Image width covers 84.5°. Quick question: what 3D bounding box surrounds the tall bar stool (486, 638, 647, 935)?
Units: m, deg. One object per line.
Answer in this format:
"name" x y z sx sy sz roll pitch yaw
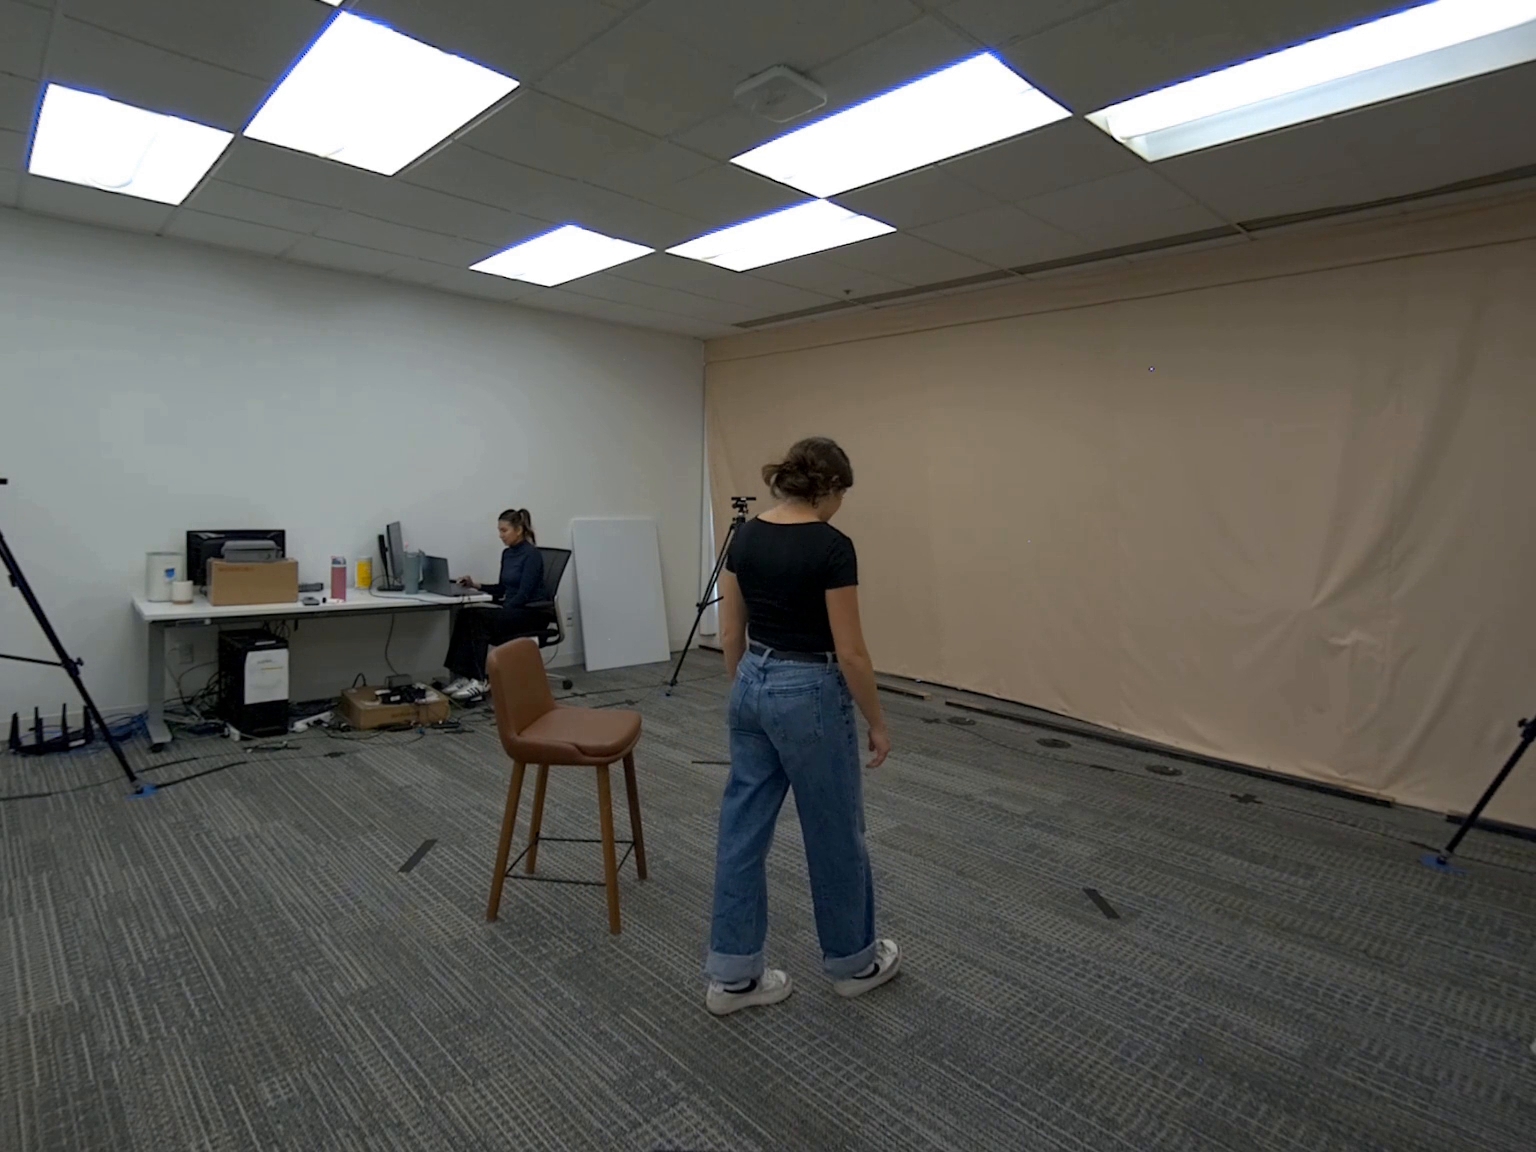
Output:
"tall bar stool" -0.682 0.681 2.875 0.470 0.887 0.455 0 3 6
